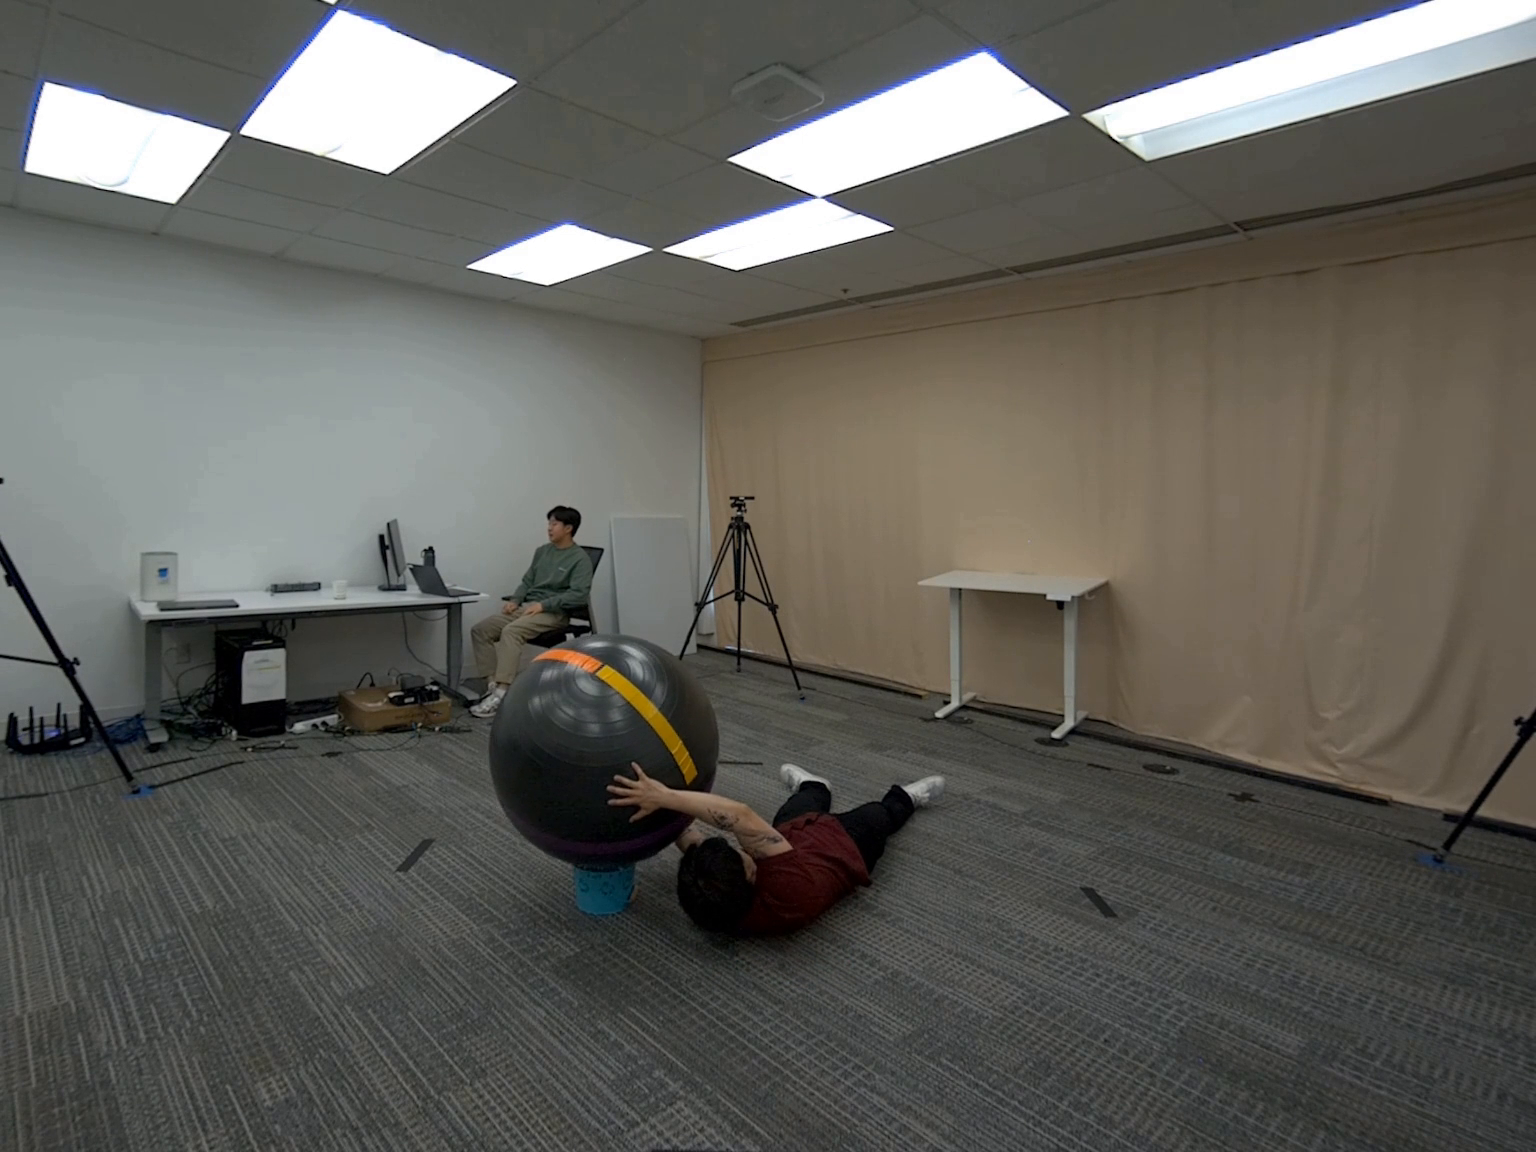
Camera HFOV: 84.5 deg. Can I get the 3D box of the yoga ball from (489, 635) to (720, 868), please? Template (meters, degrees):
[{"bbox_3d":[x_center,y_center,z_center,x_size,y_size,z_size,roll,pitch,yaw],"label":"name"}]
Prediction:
[{"bbox_3d":[-0.547,0.574,2.826,0.757,0.756,0.761,1,4,-1],"label":"yoga ball"}]
